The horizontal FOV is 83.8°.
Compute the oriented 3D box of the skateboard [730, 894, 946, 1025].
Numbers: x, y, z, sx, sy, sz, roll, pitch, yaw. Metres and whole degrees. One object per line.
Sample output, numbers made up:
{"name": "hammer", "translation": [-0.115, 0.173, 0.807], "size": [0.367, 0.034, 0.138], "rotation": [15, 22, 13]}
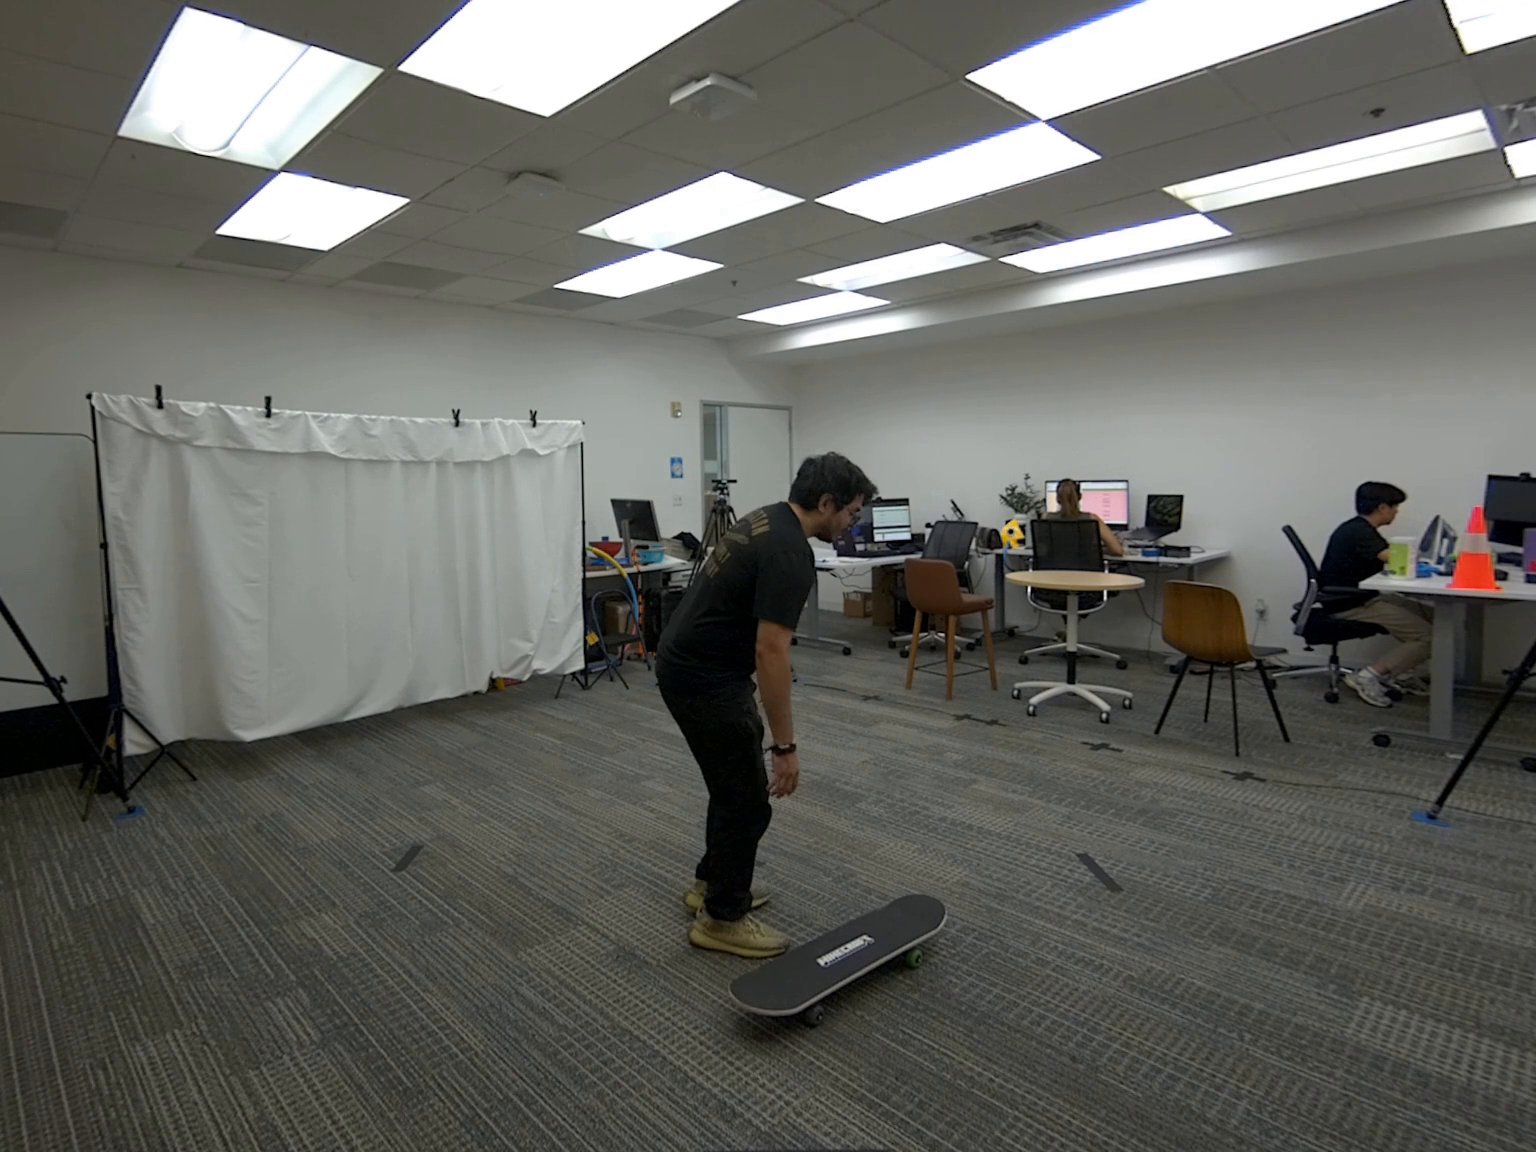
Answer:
{"name": "skateboard", "translation": [0.224, 1.073, 2.371], "size": [0.765, 0.110, 0.199], "rotation": [-7, 9, -41]}
